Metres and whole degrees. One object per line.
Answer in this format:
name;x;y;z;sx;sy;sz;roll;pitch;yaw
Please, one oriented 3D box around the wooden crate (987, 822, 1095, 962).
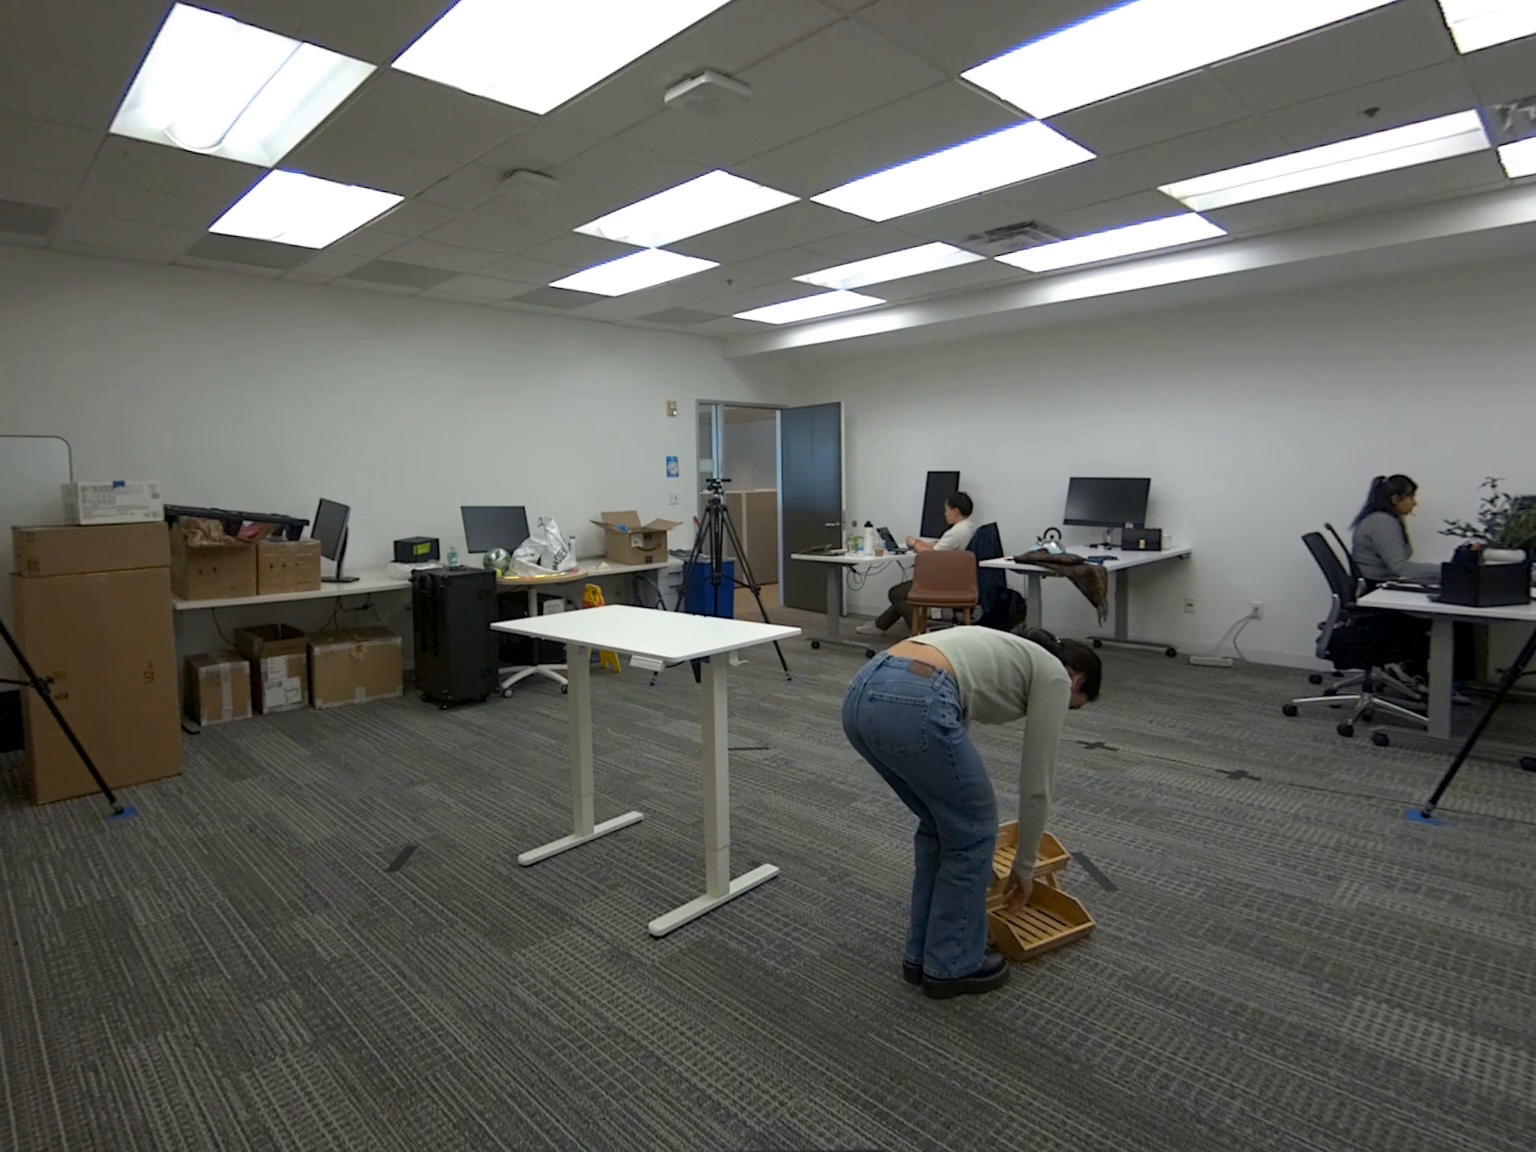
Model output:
wooden crate;0.783;0.948;2.610;0.317;0.272;0.310;-4;5;-31
